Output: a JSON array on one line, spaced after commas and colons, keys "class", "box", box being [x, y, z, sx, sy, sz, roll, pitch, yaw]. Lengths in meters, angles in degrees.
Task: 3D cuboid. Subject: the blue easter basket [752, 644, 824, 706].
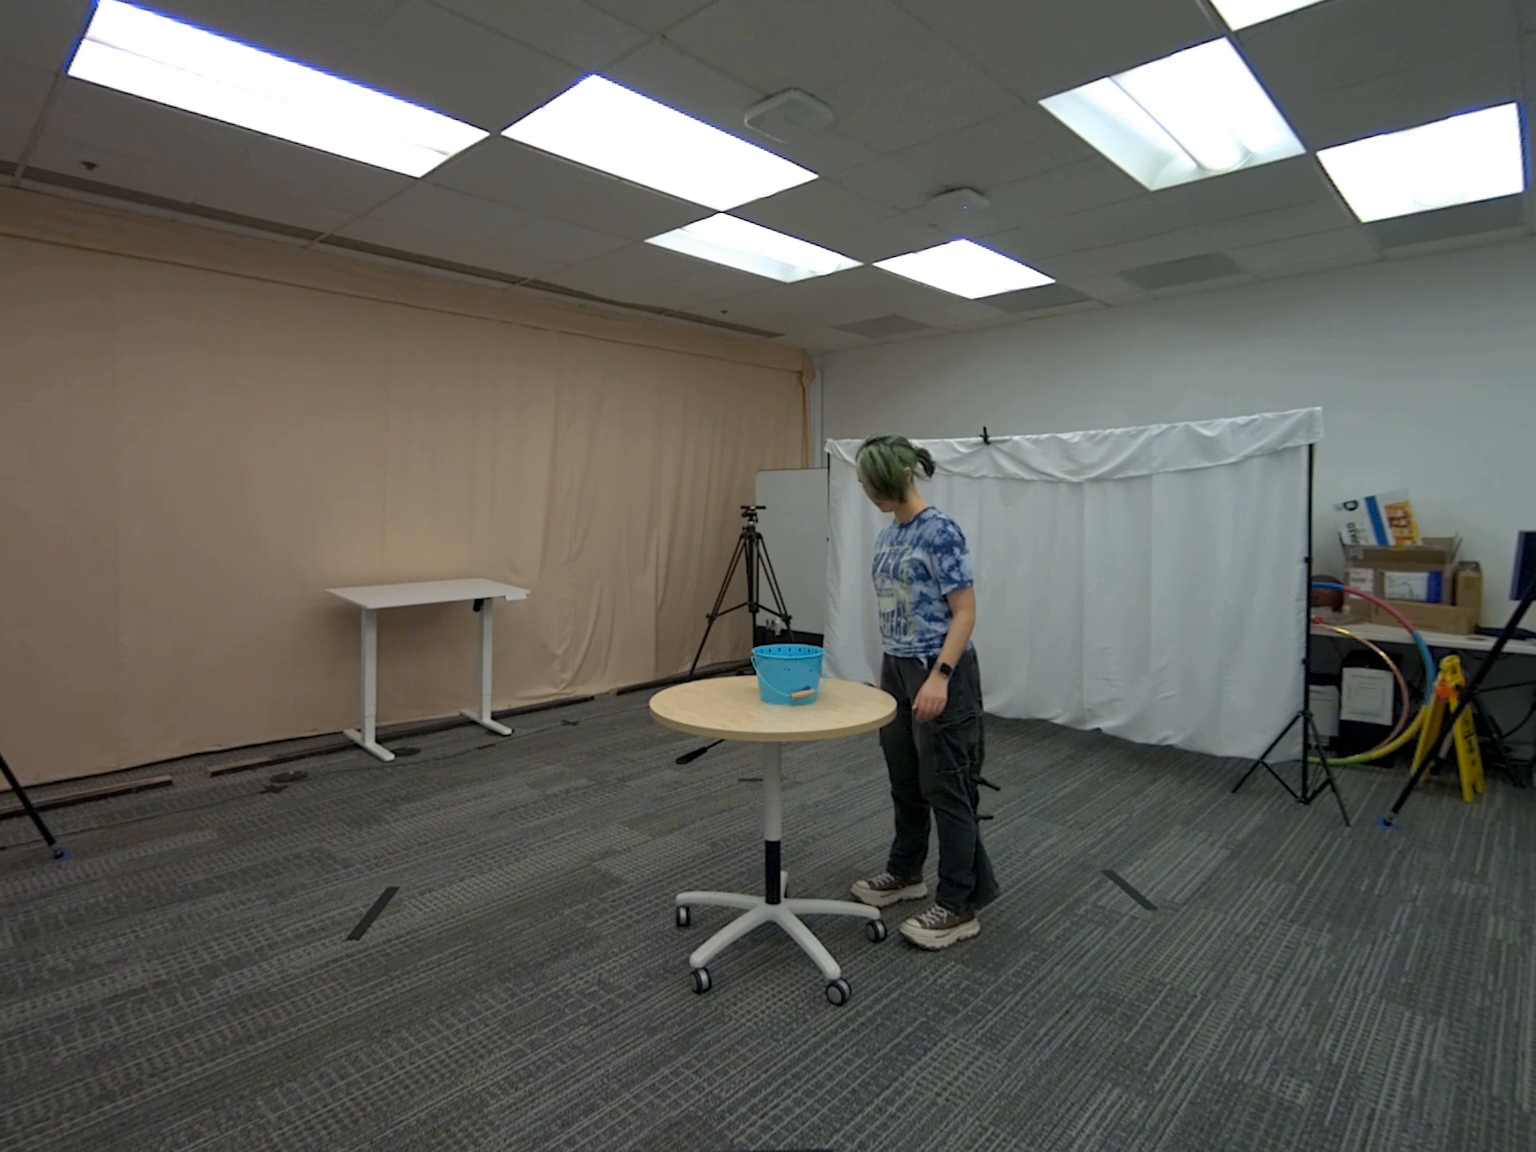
[{"class": "blue easter basket", "box": [0.071, 0.316, 2.632, 0.243, 0.155, 0.244, -1, 4, -2]}]
